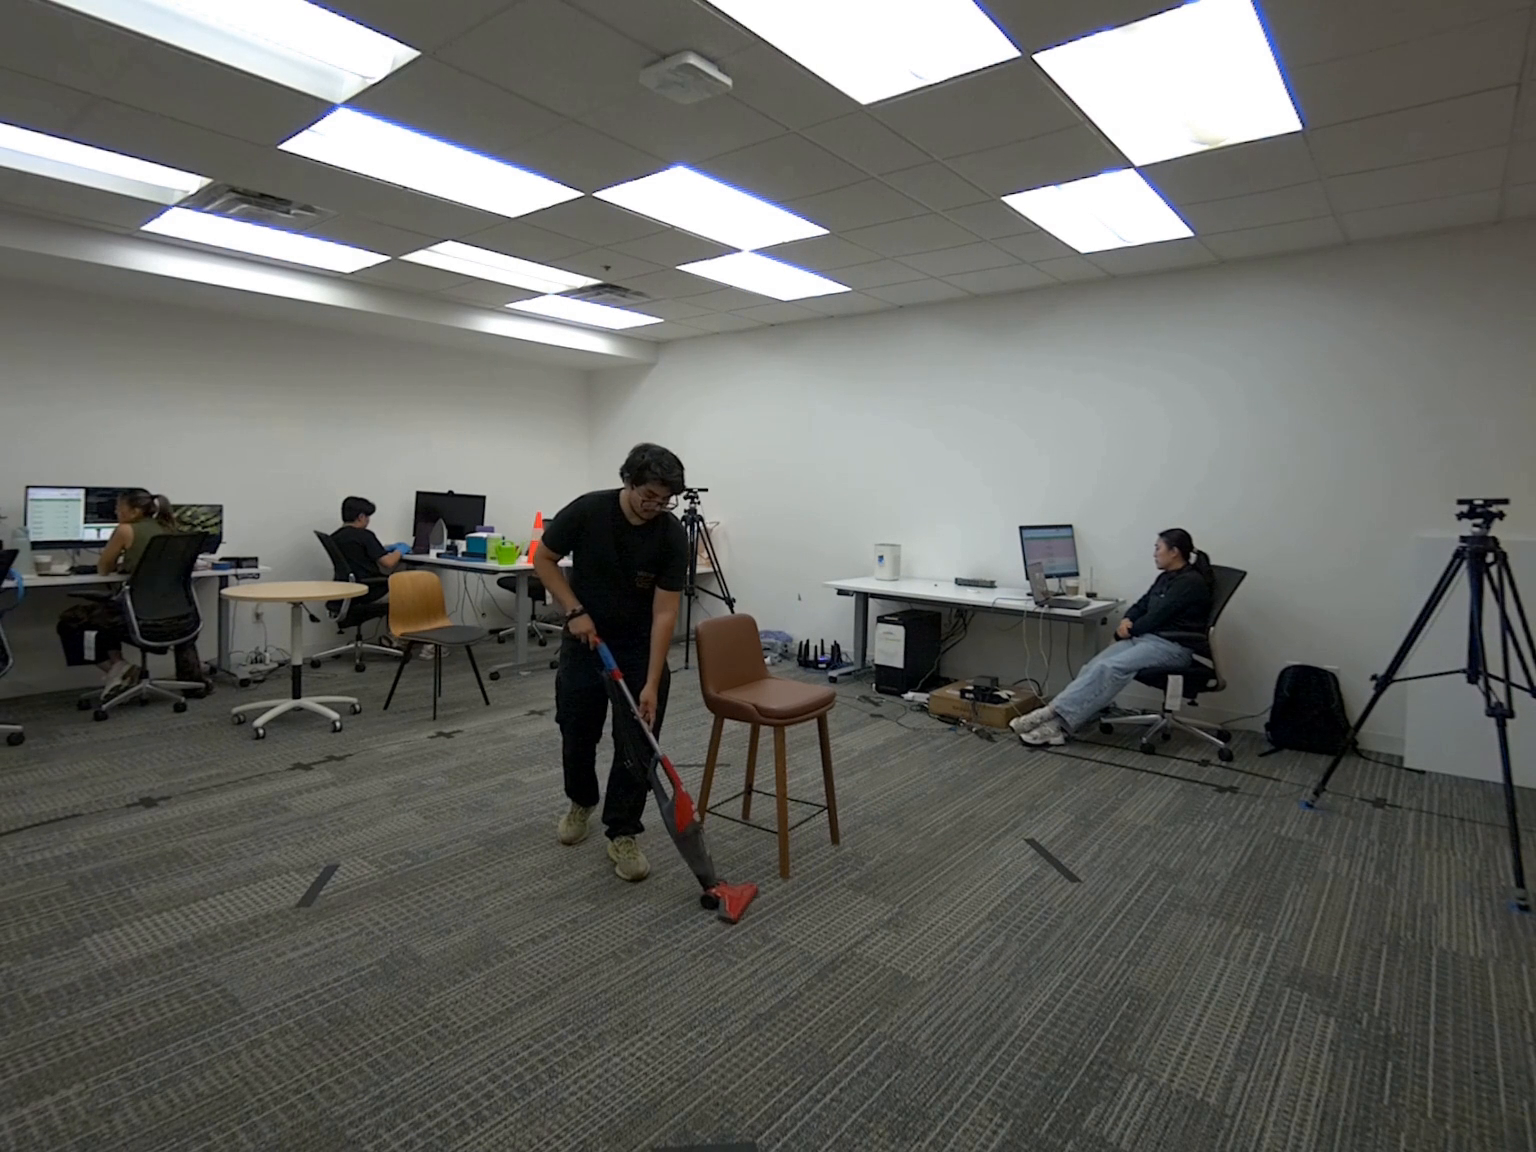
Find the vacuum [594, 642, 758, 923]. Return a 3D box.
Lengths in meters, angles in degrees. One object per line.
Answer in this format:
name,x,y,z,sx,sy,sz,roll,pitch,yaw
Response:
vacuum,-0.392,0.642,2.927,0.145,1.061,0.248,-33,-8,23
